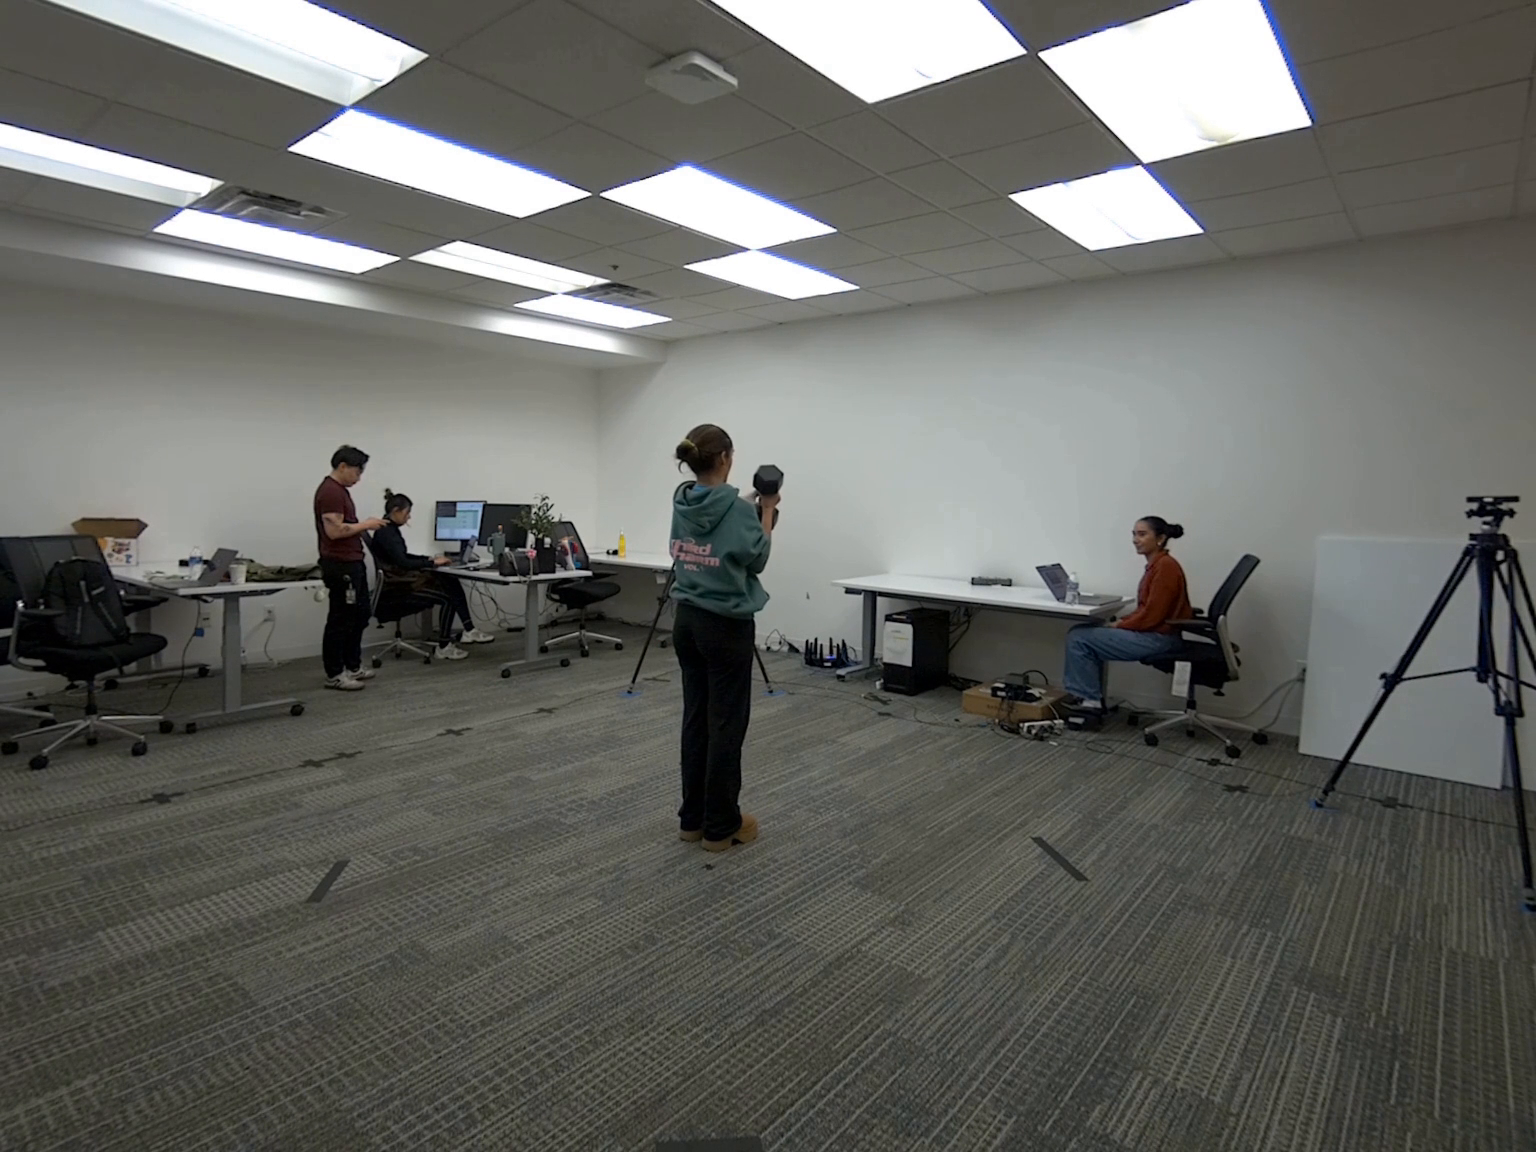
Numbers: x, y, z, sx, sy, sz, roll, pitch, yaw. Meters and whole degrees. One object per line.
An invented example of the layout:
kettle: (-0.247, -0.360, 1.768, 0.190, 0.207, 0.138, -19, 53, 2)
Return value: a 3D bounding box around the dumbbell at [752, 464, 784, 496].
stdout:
dumbbell: (-0.022, -0.314, 3.448, 0.111, 0.285, 0.124, 18, 50, 14)
